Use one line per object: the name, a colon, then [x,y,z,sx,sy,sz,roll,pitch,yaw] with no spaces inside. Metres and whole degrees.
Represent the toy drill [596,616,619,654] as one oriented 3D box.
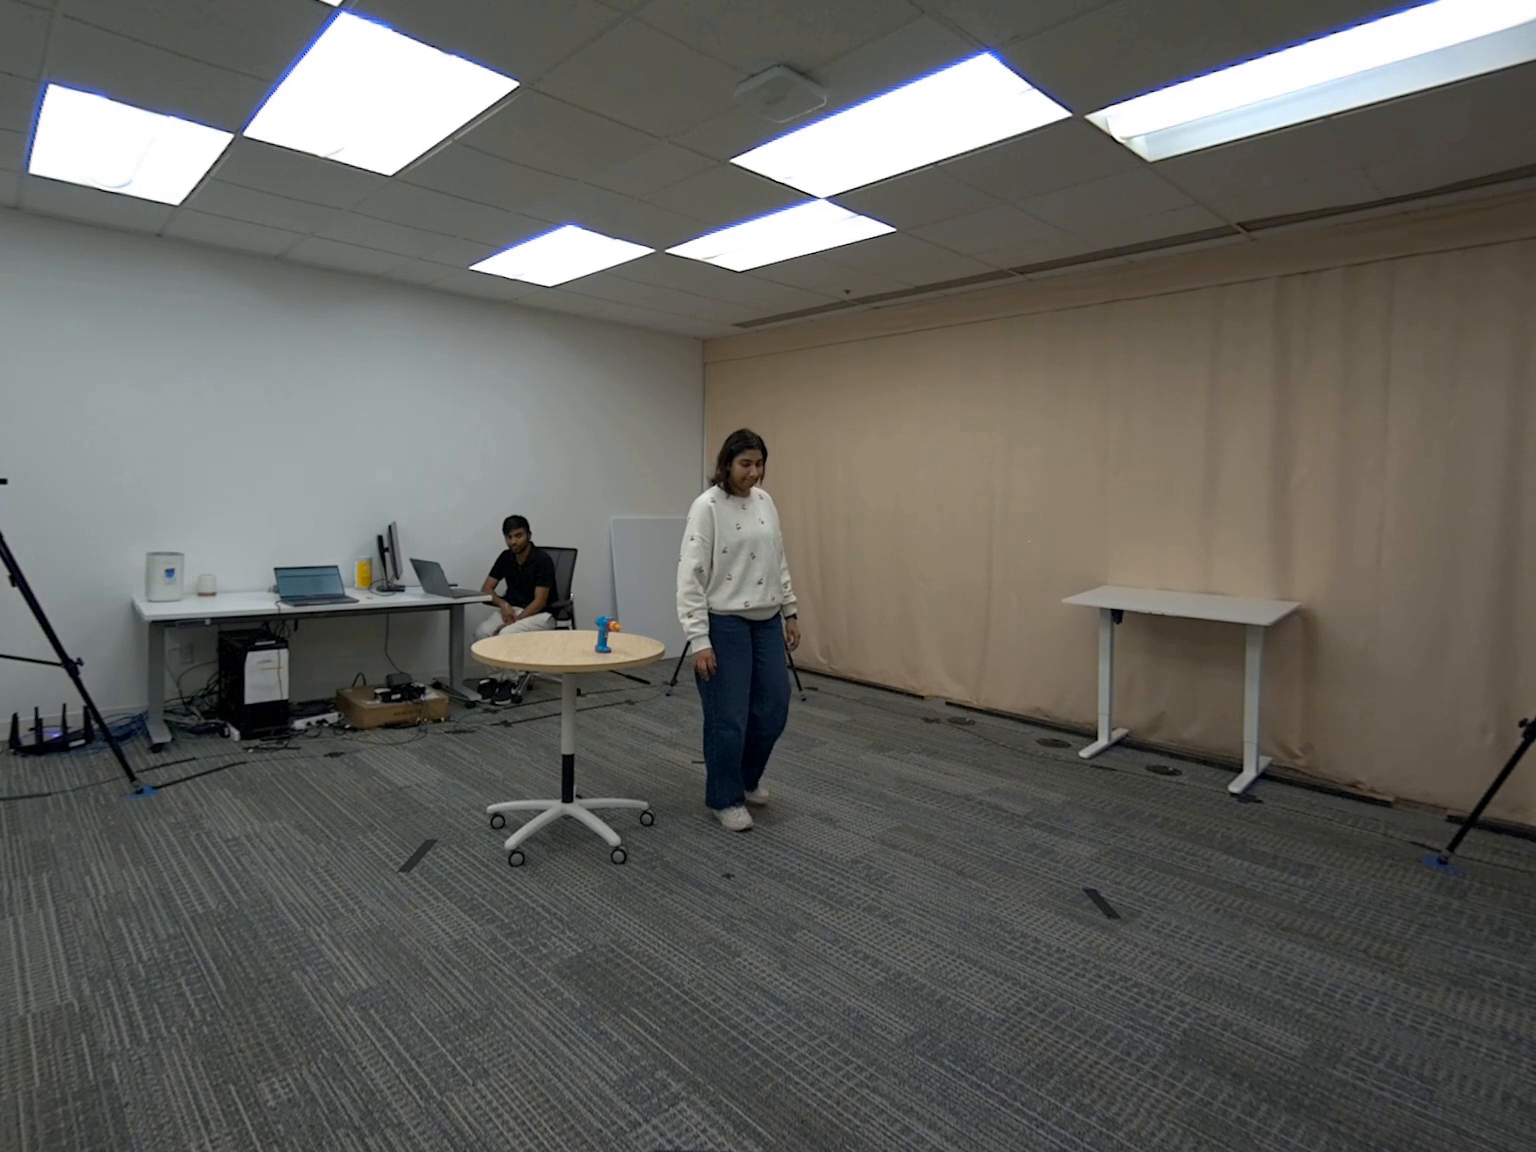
toy drill: [-0.622,0.230,3.259,0.060,0.145,0.174,-3,6,-44]
